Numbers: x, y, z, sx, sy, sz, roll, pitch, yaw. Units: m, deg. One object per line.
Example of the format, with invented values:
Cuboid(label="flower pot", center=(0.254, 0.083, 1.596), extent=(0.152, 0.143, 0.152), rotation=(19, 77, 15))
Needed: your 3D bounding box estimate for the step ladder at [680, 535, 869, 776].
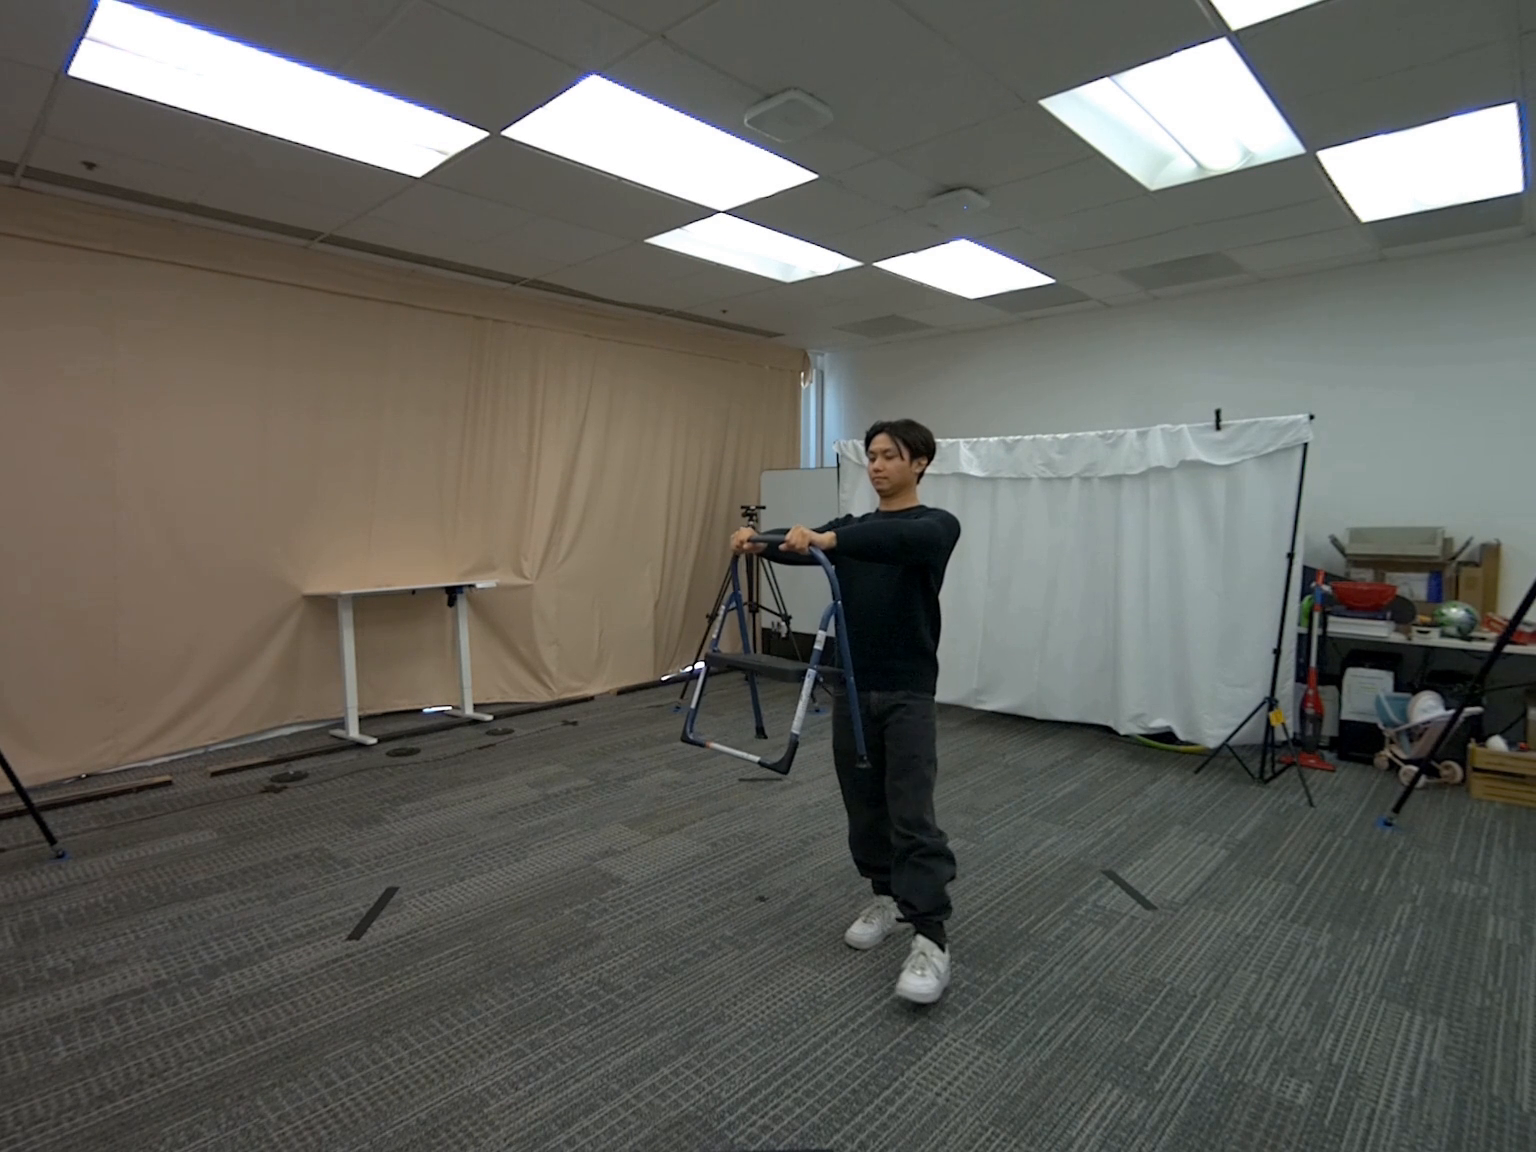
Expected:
Cuboid(label="step ladder", center=(0.043, 0.199, 2.365), extent=(0.337, 0.607, 0.445), rotation=(7, -3, -43))
